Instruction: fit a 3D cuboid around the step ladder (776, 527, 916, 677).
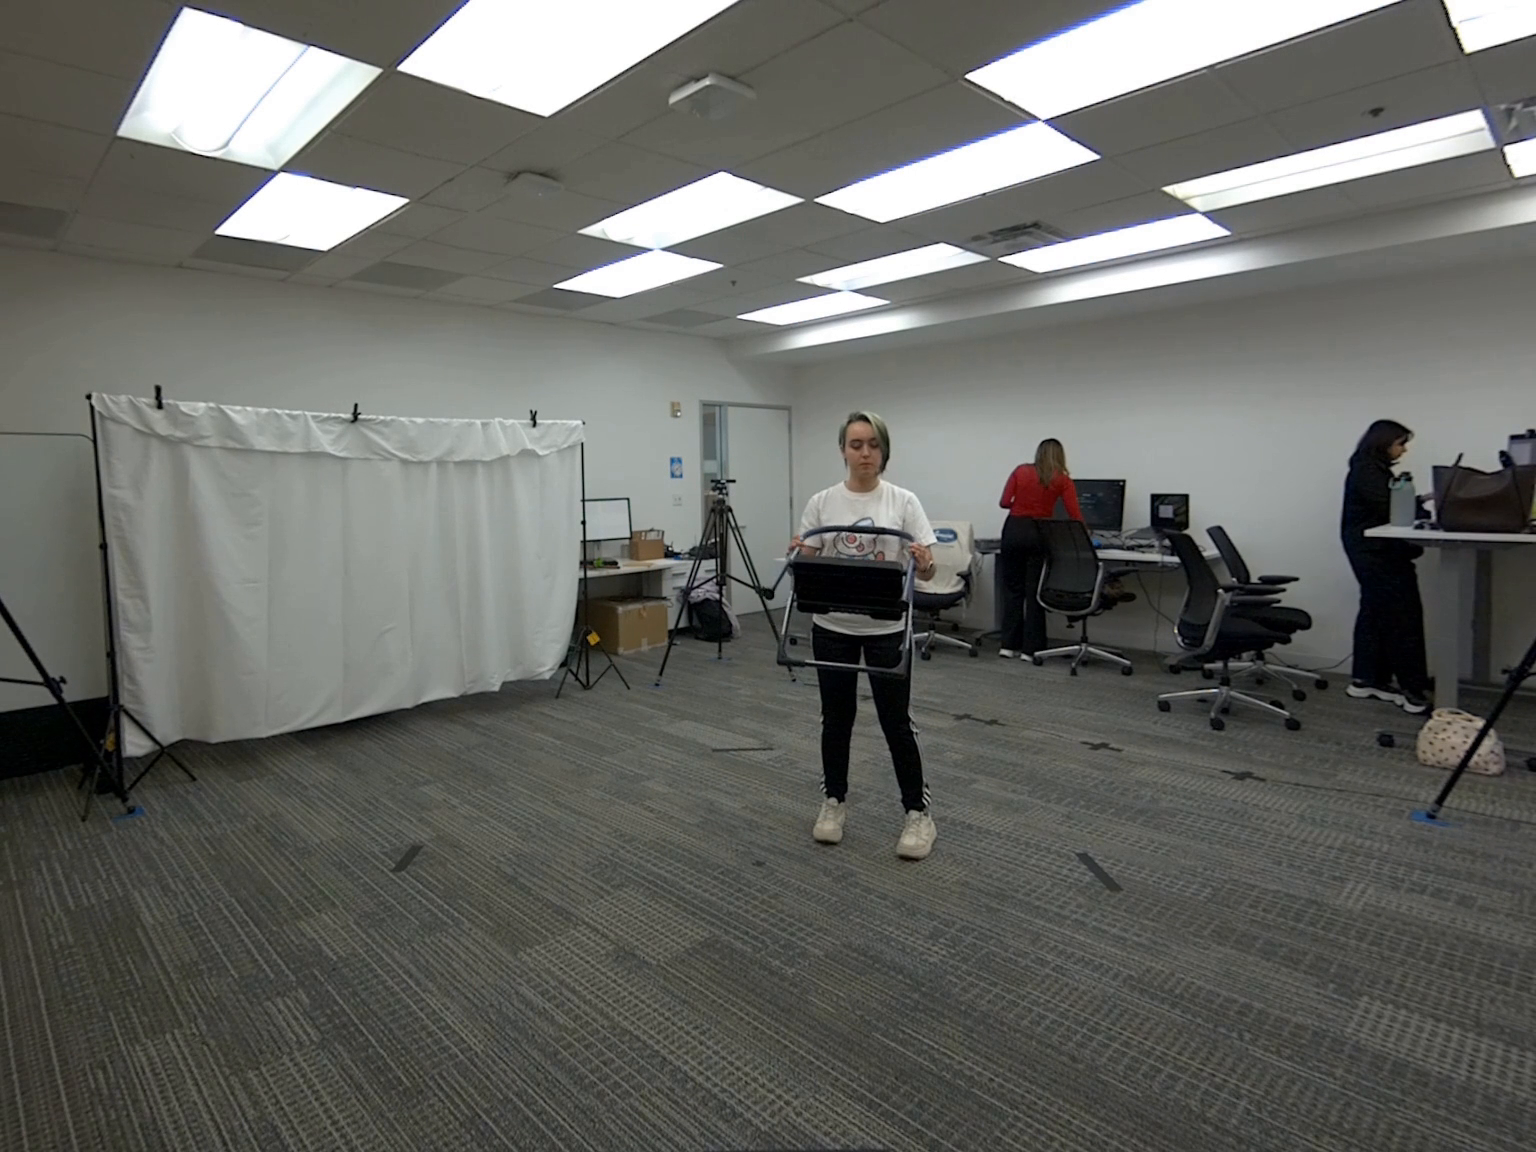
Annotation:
[{"bbox_3d":[0.277,-0.007,2.825,0.437,0.339,0.616,4,43,13],"label":"step ladder"}]
